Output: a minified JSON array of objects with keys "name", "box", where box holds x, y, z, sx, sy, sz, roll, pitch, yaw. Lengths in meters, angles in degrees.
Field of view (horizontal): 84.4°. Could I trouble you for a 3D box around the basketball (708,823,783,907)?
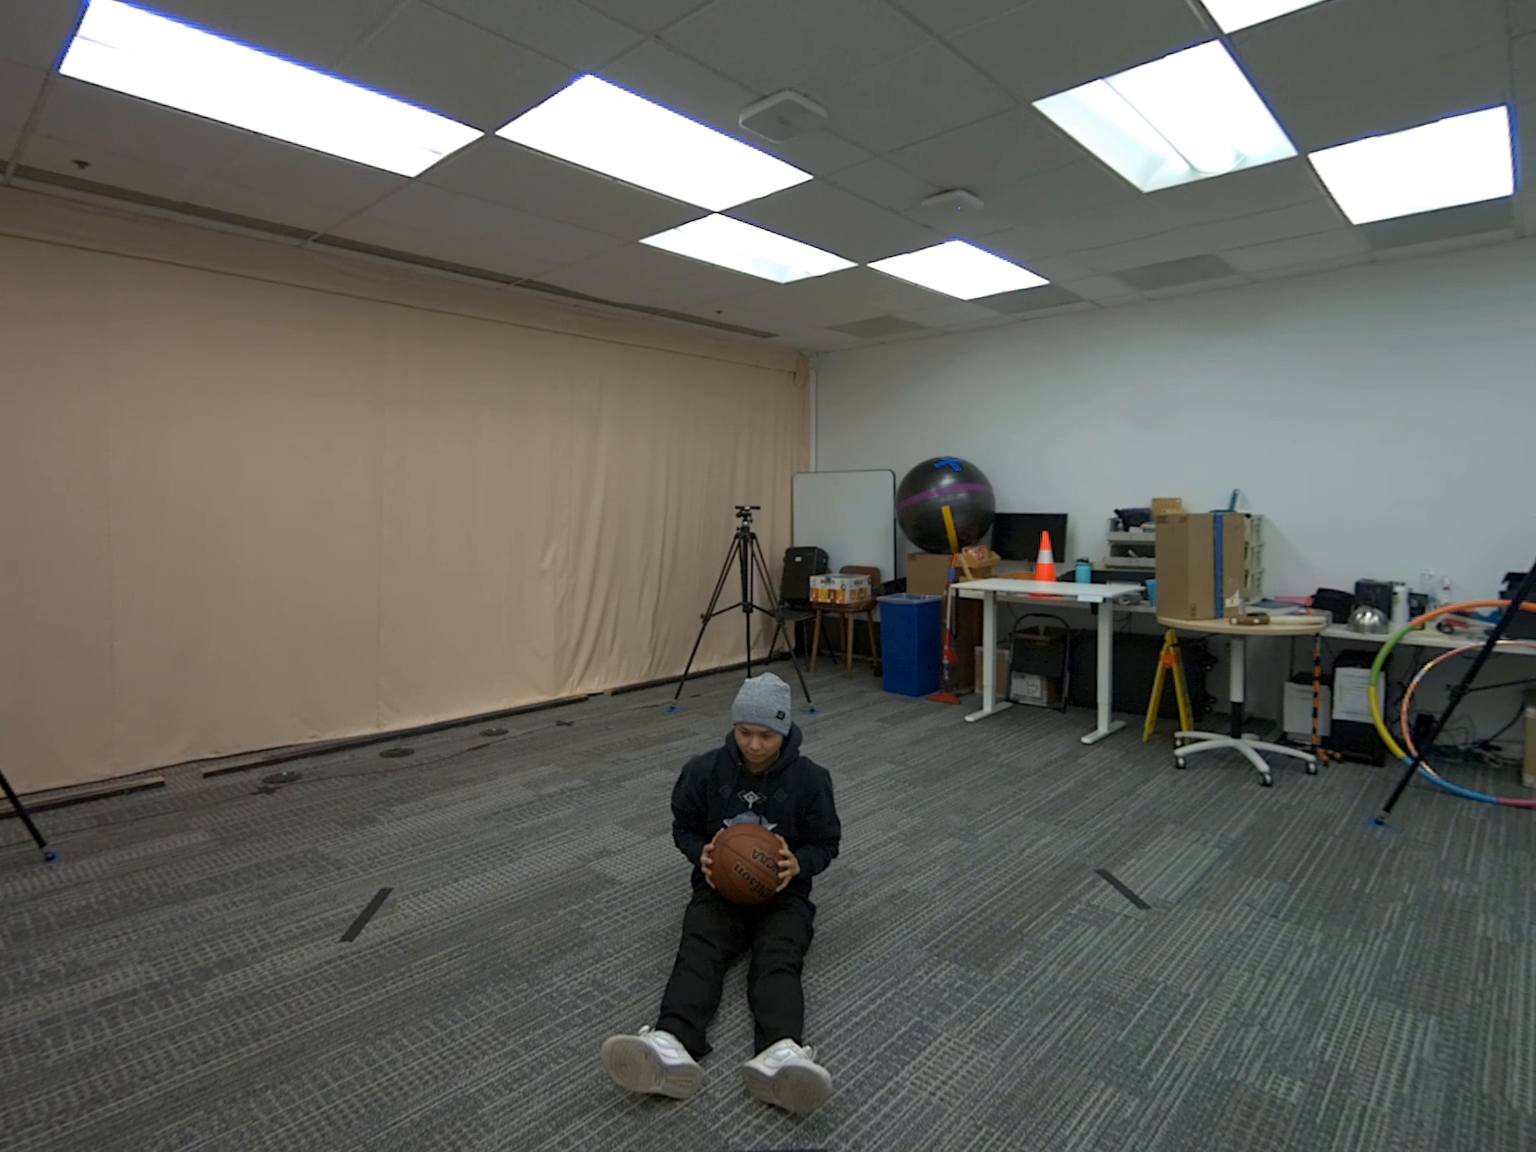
[{"name":"basketball","box":[-0.065,0.880,2.597,0.236,0.235,0.237,0,4,-2]}]
